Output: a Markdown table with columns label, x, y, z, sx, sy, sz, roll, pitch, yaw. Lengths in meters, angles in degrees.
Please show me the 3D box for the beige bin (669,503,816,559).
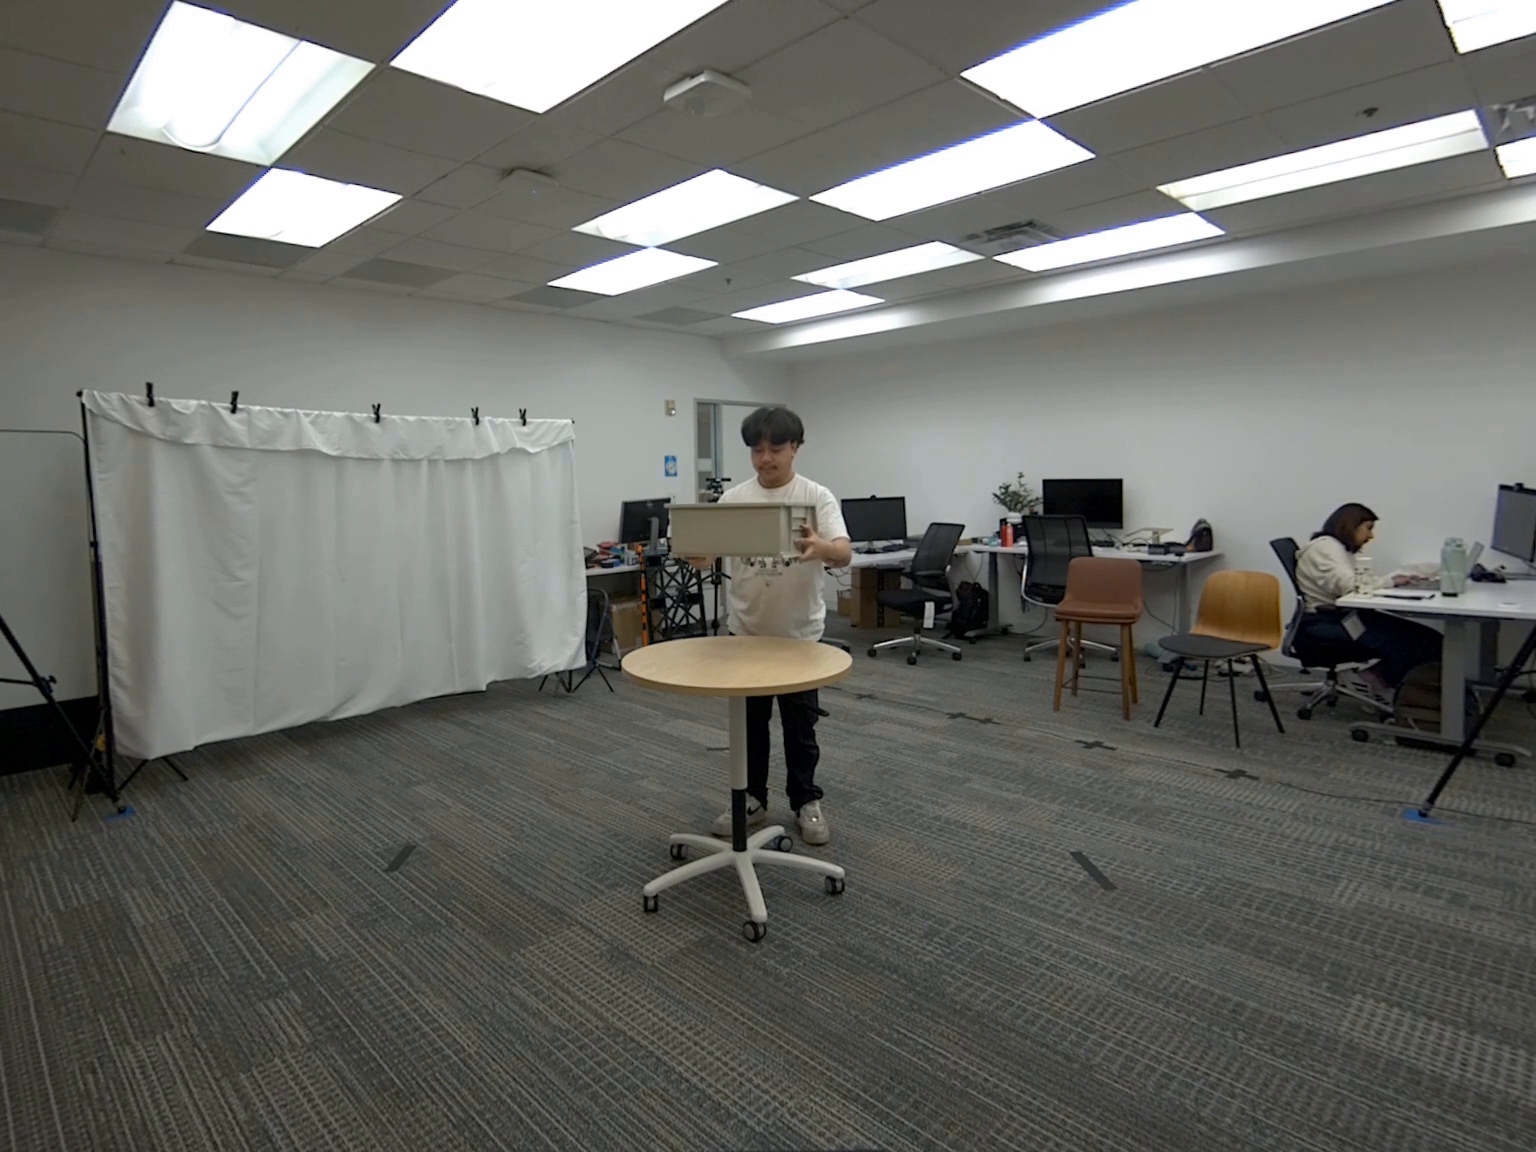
| label | x | y | z | sx | sy | sz | roll | pitch | yaw |
| --- | --- | --- | --- | --- | --- | --- | --- | --- | --- |
| beige bin | -0.083 | -0.155 | 2.928 | 0.431 | 0.188 | 0.370 | 1 | 4 | 23 |
